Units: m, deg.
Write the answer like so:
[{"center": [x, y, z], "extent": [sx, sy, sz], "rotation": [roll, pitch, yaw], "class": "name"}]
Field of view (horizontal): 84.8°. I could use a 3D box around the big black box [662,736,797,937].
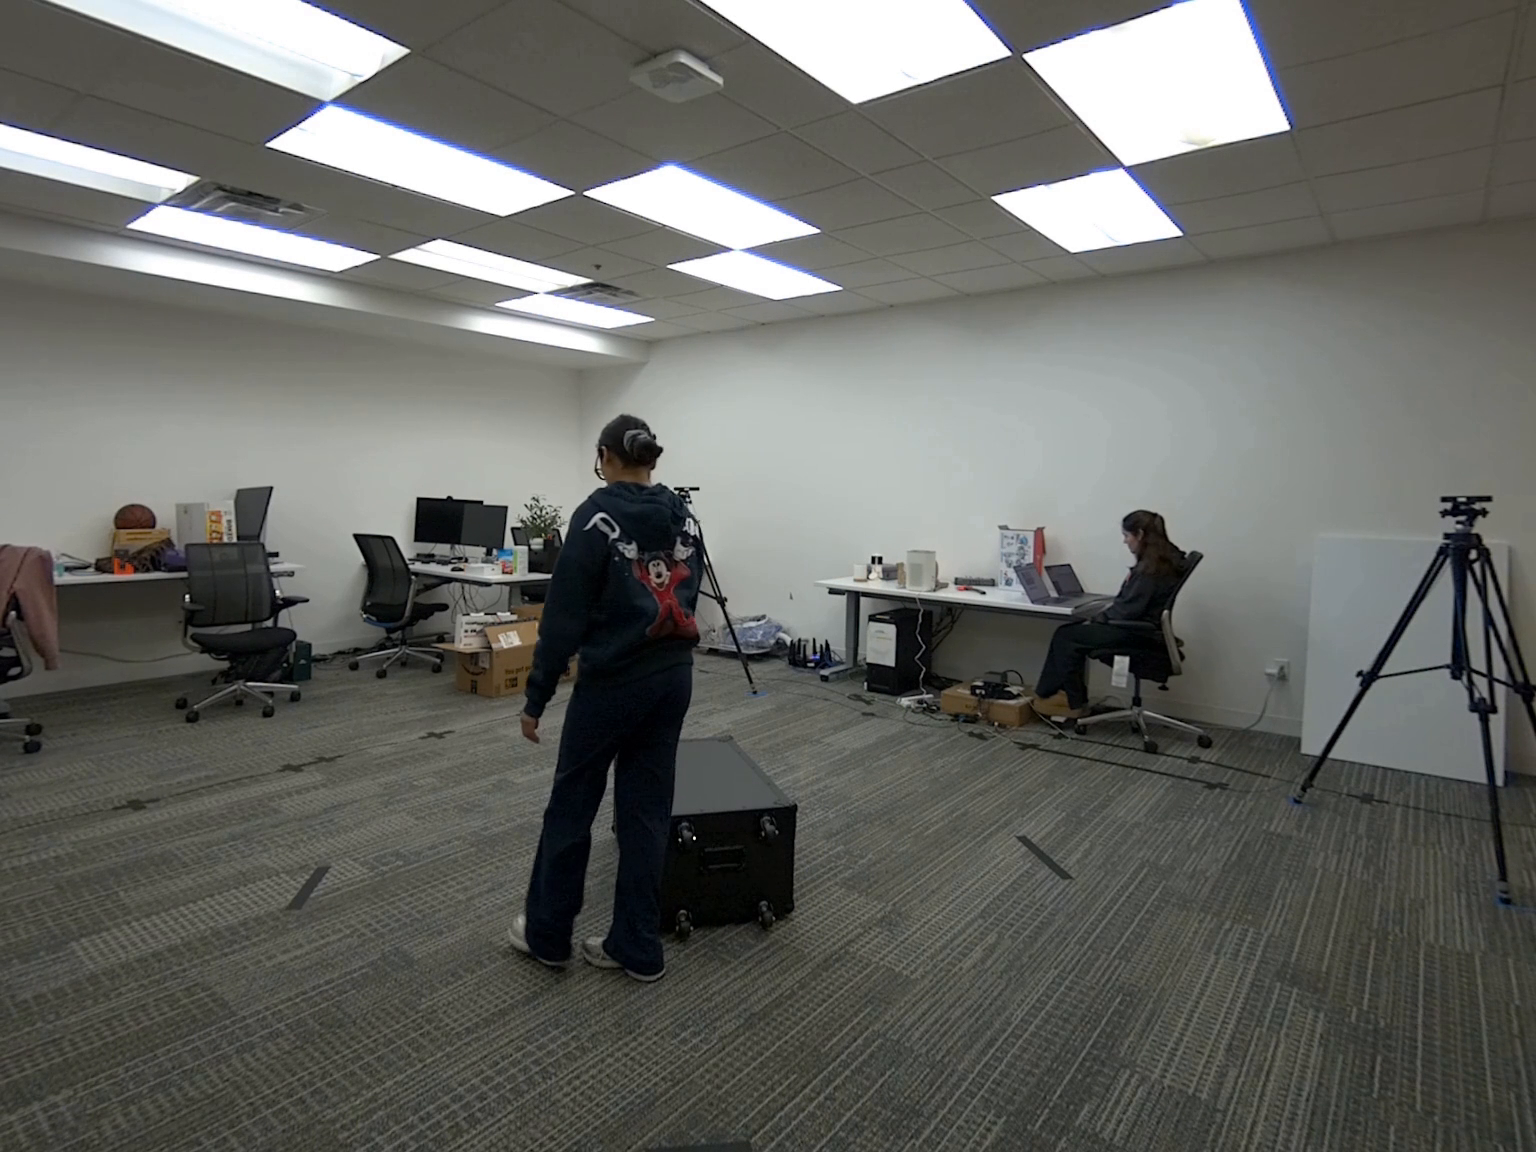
[{"center": [-0.260, 0.883, 3.020], "extent": [0.512, 0.395, 0.880], "rotation": [0, 5, -18], "class": "big black box"}]
